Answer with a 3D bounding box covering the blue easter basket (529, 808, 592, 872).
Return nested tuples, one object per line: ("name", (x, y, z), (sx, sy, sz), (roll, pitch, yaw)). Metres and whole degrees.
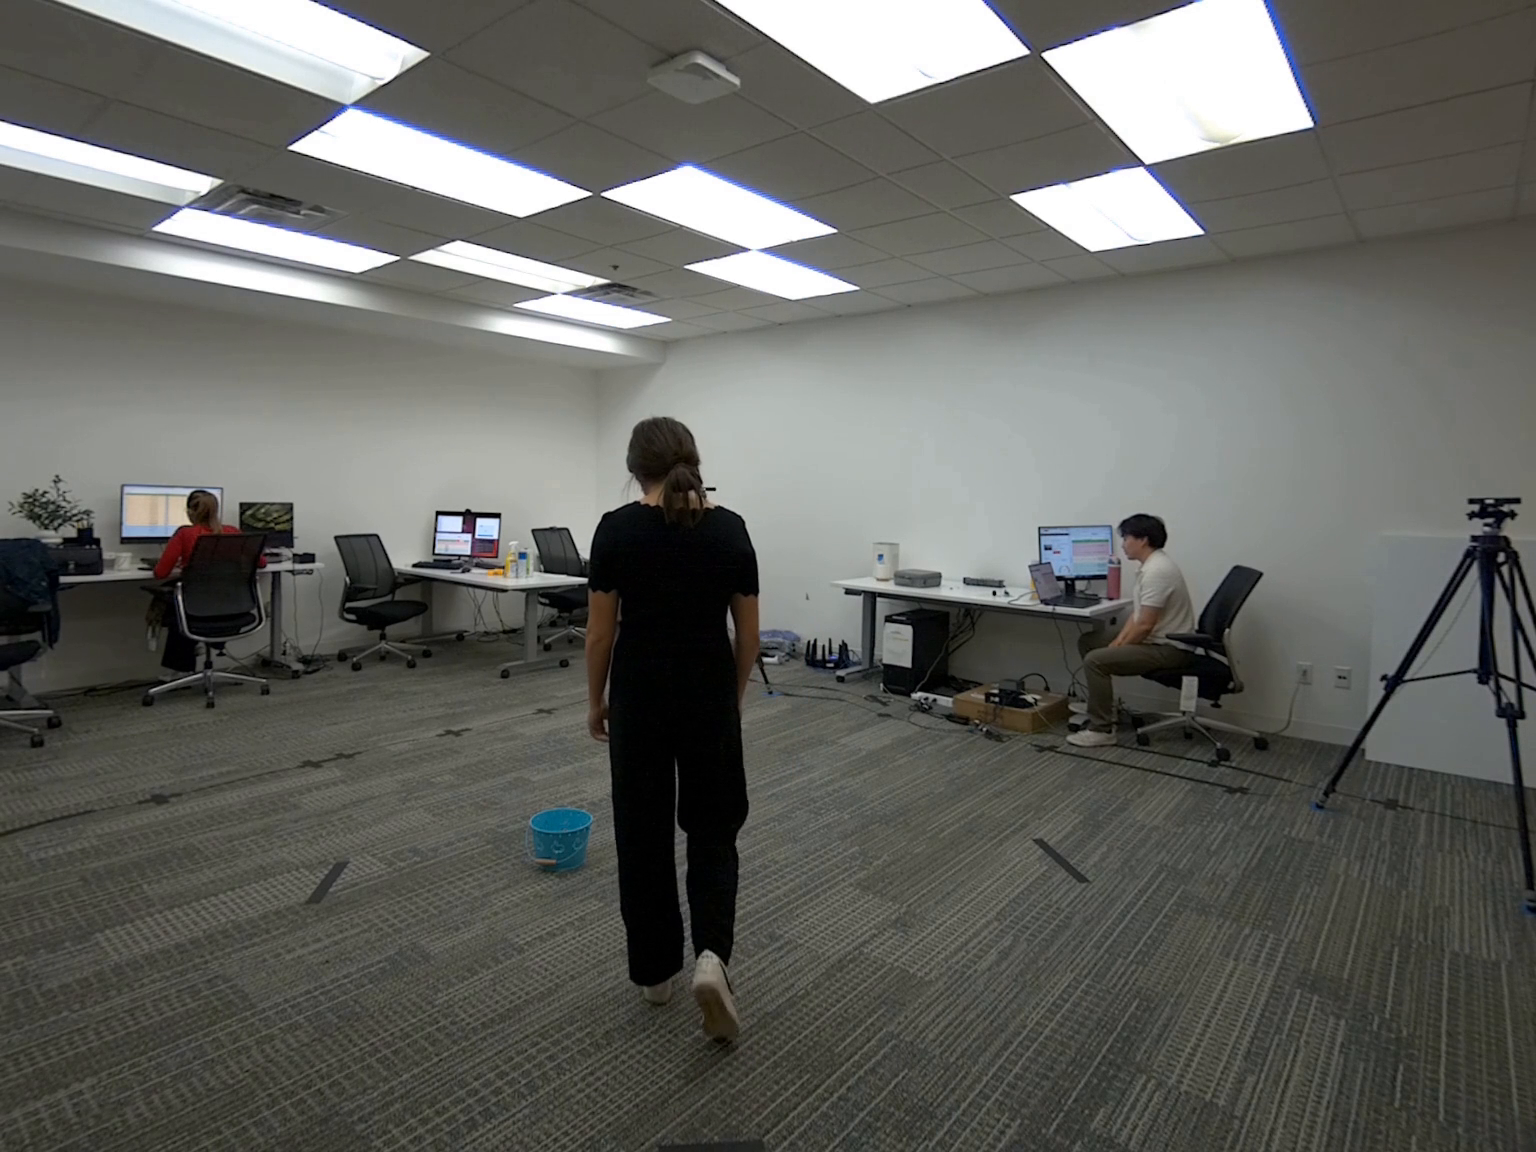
("blue easter basket", (-0.784, 0.973, 3.148), (0.243, 0.155, 0.245), (1, 5, -2))
